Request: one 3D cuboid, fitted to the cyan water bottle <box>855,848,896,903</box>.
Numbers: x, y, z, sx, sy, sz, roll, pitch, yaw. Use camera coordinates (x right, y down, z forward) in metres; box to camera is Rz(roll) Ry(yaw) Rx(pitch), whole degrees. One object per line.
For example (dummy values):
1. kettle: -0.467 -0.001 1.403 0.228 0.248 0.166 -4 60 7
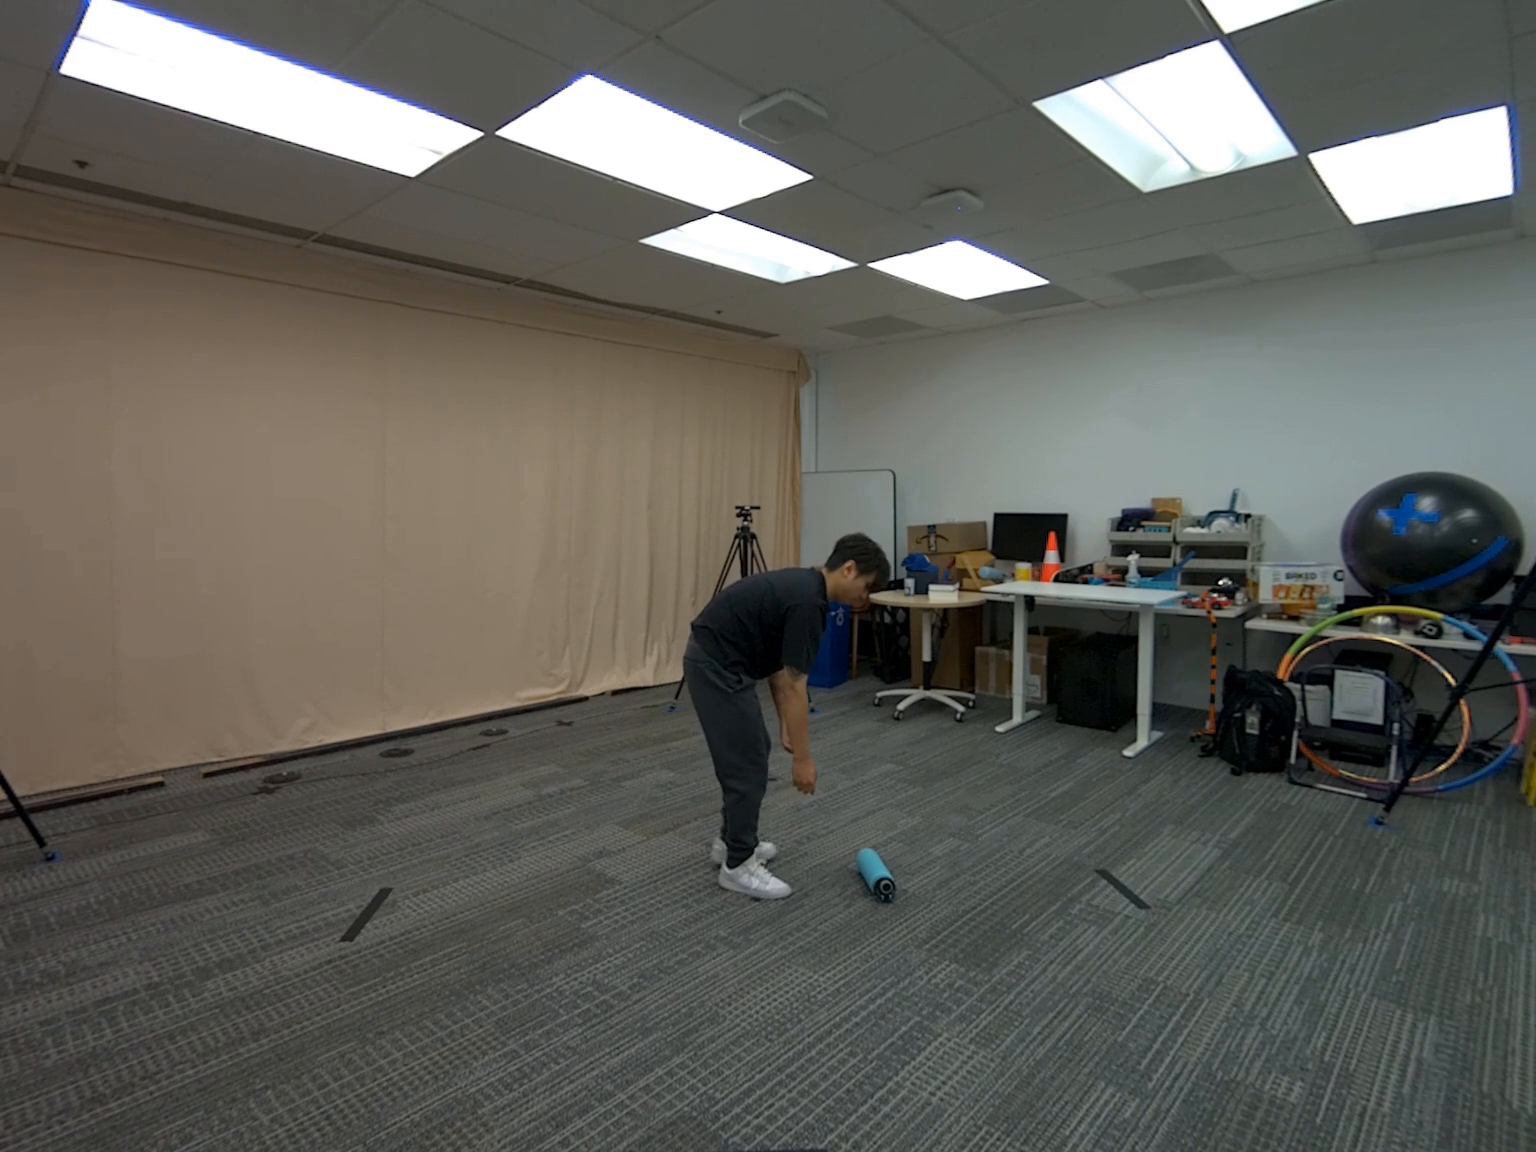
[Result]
1. cyan water bottle: 0.396 1.086 3.064 0.092 0.092 0.286 0 6 -6
